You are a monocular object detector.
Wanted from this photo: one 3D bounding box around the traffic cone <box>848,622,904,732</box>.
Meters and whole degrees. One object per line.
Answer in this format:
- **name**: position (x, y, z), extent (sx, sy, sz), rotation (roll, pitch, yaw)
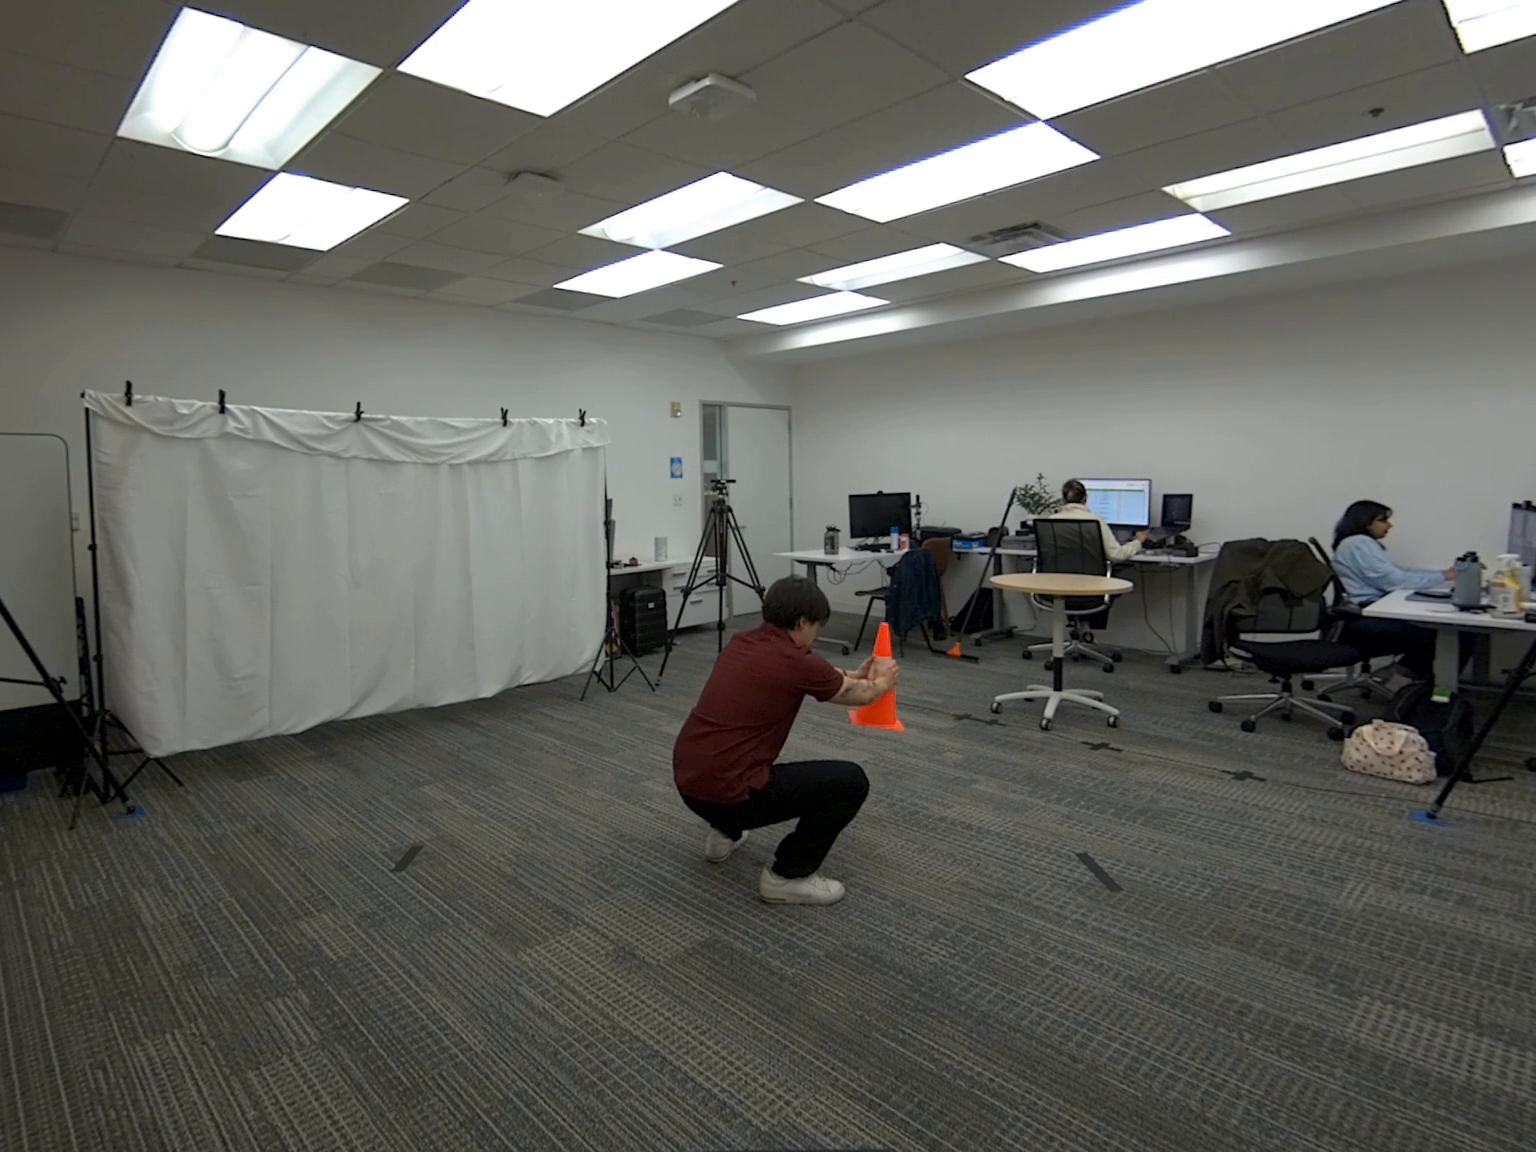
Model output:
- **traffic cone**: position (0.437, 0.358, 3.321), extent (0.205, 0.383, 0.204), rotation (4, 2, 5)
